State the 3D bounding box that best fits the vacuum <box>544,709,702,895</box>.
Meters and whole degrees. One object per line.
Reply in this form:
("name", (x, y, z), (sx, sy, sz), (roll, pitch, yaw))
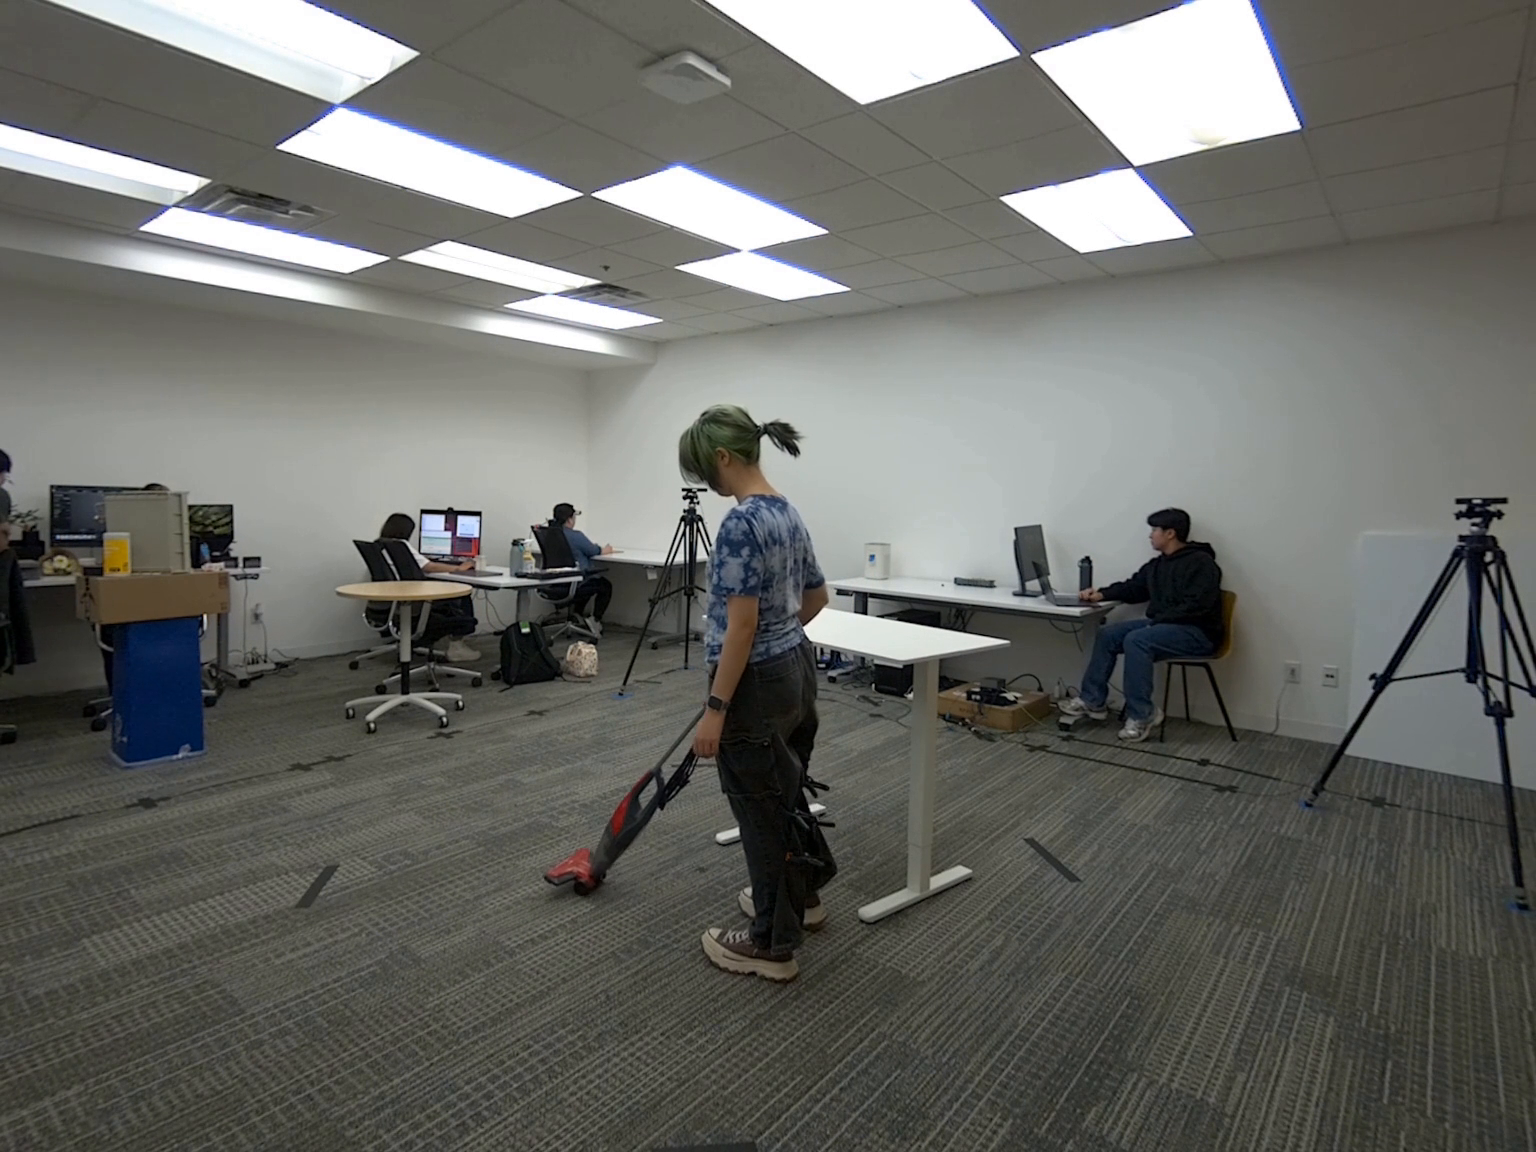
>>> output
("vacuum", (-0.366, 0.668, 2.813), (0.147, 1.048, 0.248), (43, 18, 12))
